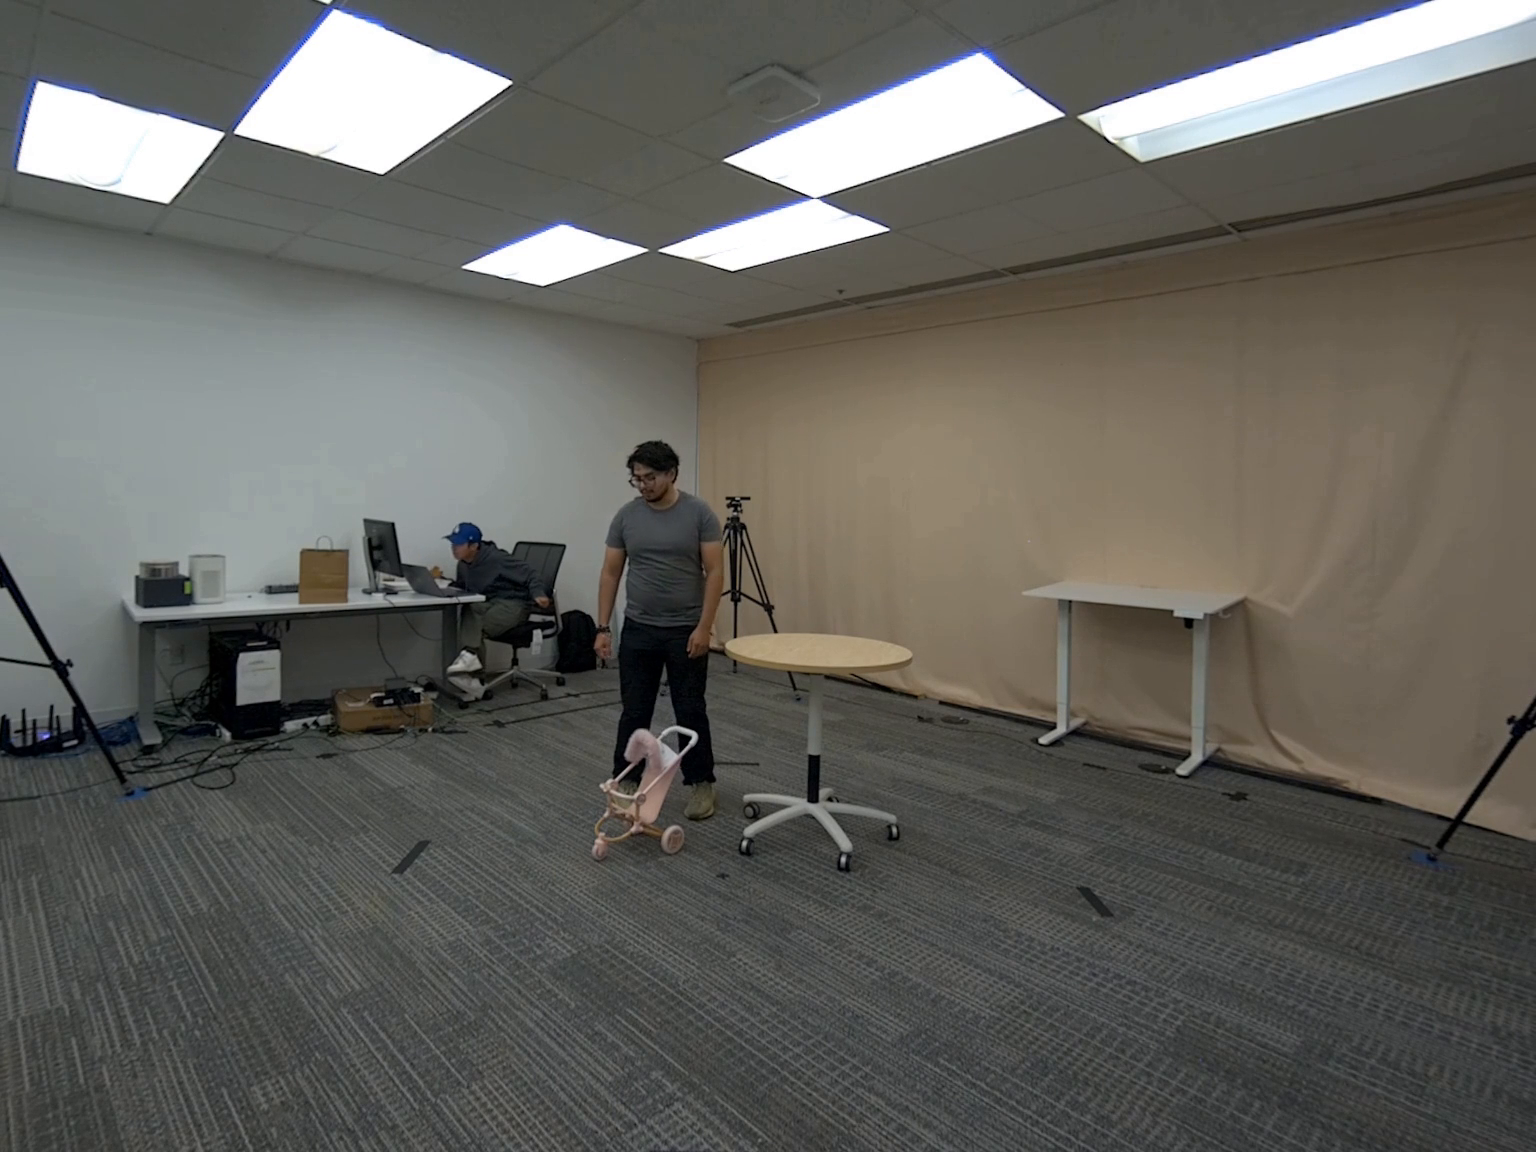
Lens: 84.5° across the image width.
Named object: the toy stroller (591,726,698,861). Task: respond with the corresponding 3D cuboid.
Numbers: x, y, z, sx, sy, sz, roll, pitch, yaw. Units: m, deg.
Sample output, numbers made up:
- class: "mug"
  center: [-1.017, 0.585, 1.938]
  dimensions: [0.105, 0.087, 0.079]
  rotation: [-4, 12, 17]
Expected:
- class: "toy stroller"
  center: [-0.513, 0.852, 3.330]
  dimensions: [0.332, 0.537, 0.288]
  rotation: [17, -7, -38]
